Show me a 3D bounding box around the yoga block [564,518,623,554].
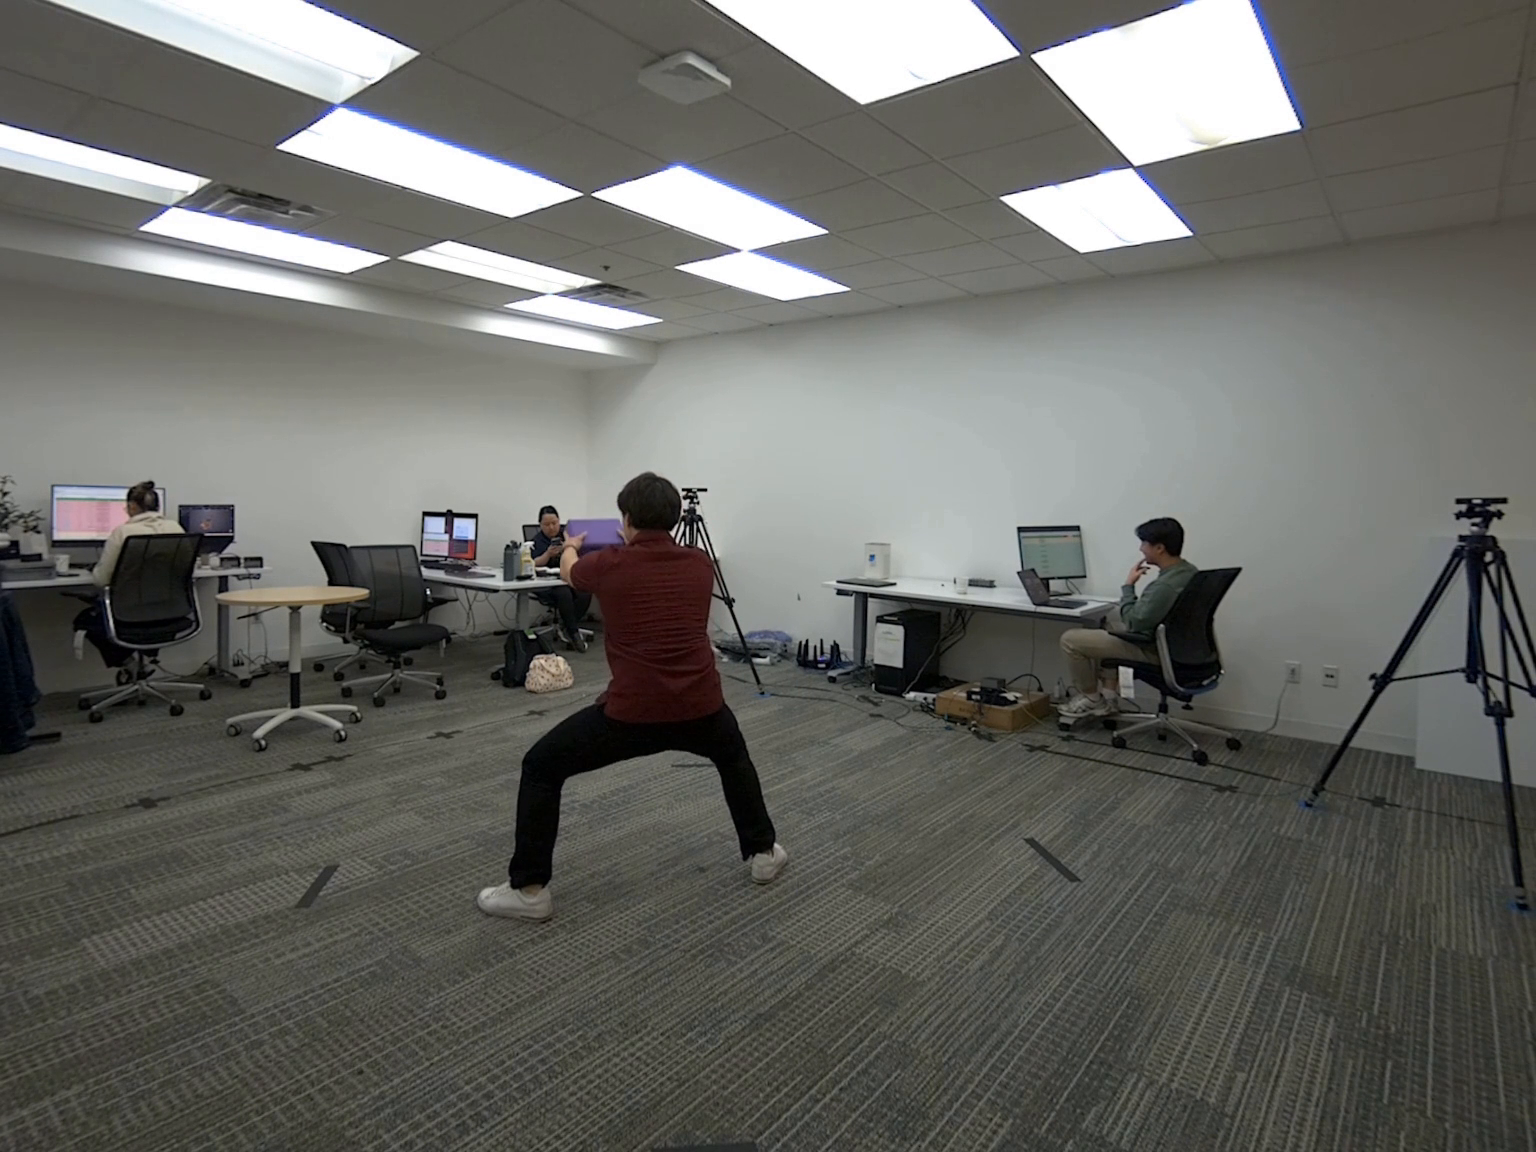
[{"bbox_3d":[-0.695,-0.164,3.422,0.223,0.155,0.075,-3,-41,-29],"label":"yoga block"}]
